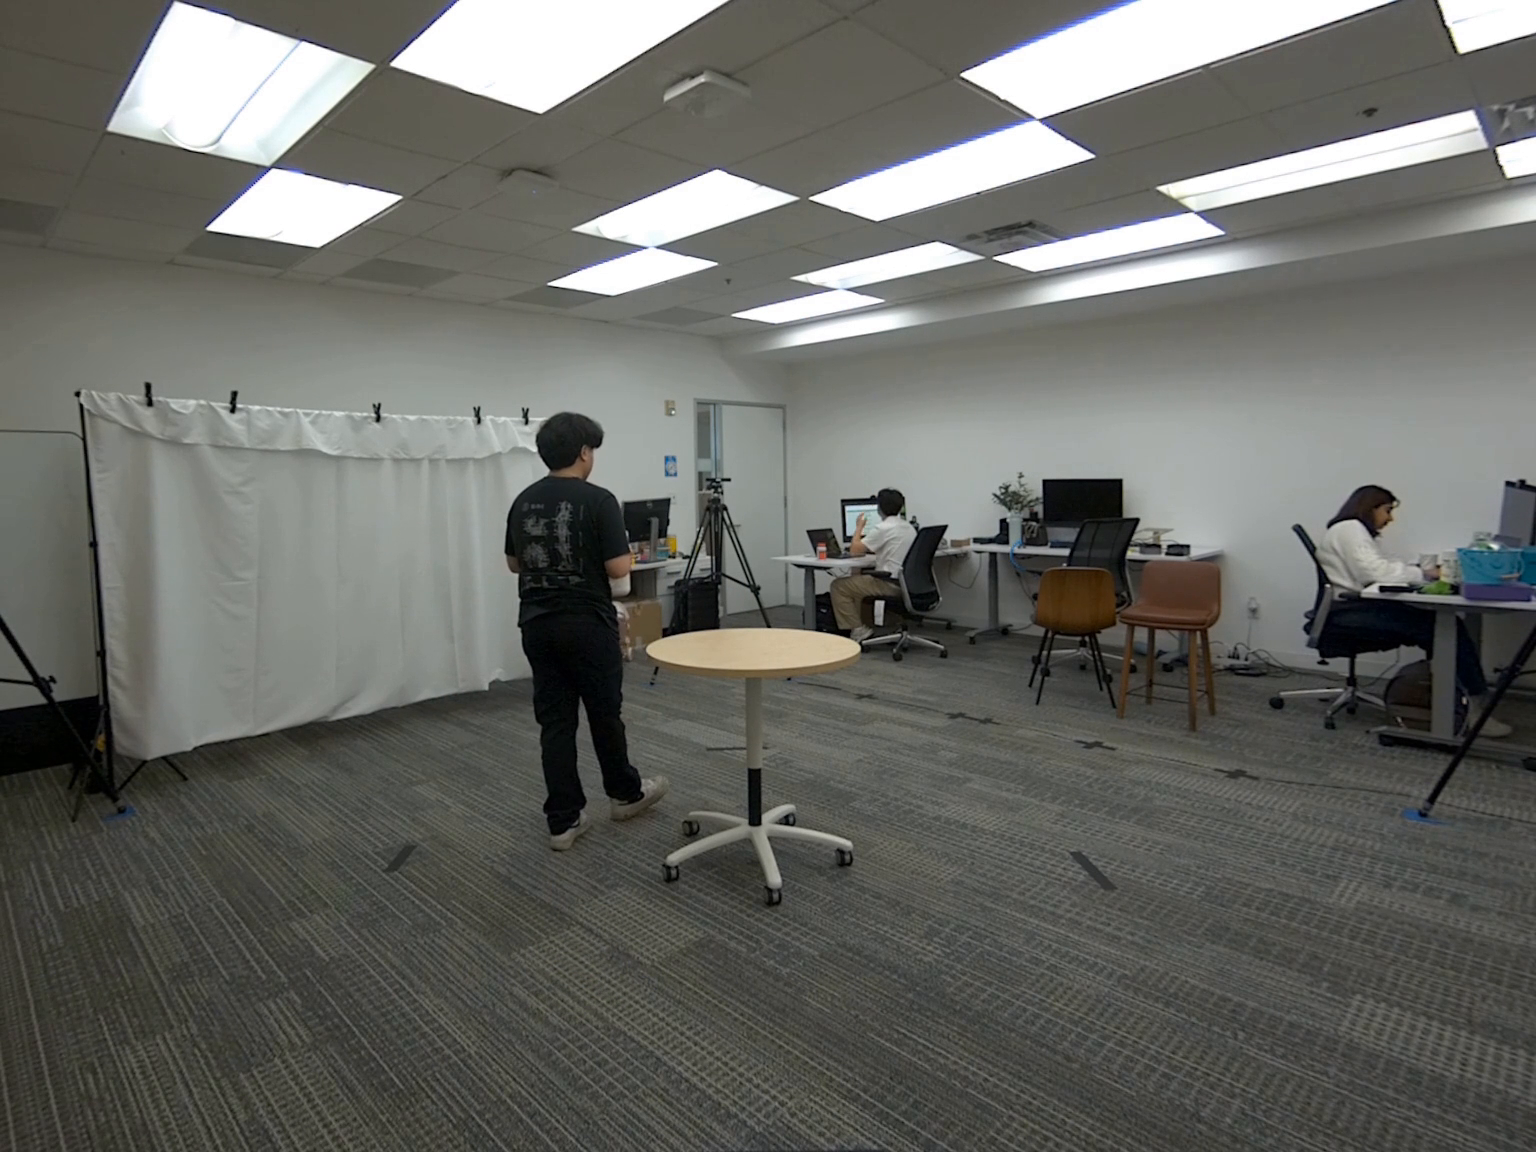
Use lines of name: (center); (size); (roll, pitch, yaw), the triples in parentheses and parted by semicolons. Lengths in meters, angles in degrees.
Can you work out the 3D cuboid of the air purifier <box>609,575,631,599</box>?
air purifier: (-0.670, -0.051, 3.561); (0.169, 0.264, 0.174); (-3, 3, -10)
